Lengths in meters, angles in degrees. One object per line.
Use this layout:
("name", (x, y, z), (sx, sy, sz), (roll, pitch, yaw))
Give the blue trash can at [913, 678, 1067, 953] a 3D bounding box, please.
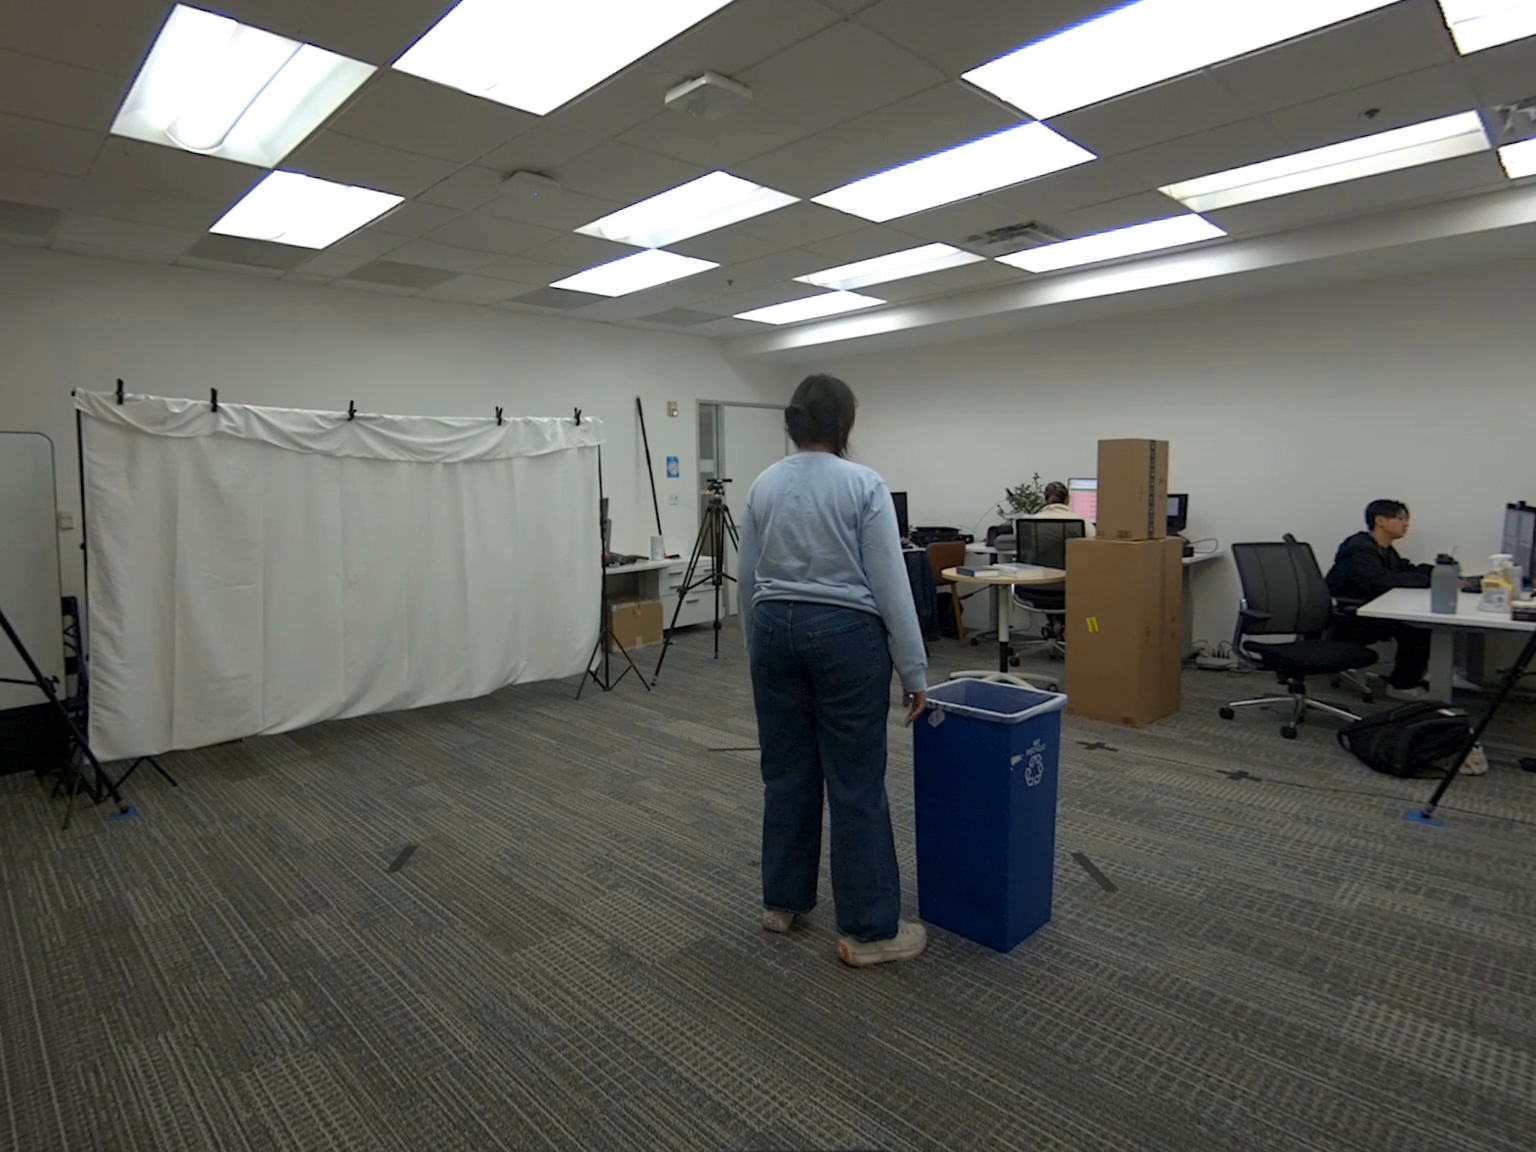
("blue trash can", (0.689, 0.724, 2.685), (0.364, 0.711, 0.390), (-4, 6, -43))
